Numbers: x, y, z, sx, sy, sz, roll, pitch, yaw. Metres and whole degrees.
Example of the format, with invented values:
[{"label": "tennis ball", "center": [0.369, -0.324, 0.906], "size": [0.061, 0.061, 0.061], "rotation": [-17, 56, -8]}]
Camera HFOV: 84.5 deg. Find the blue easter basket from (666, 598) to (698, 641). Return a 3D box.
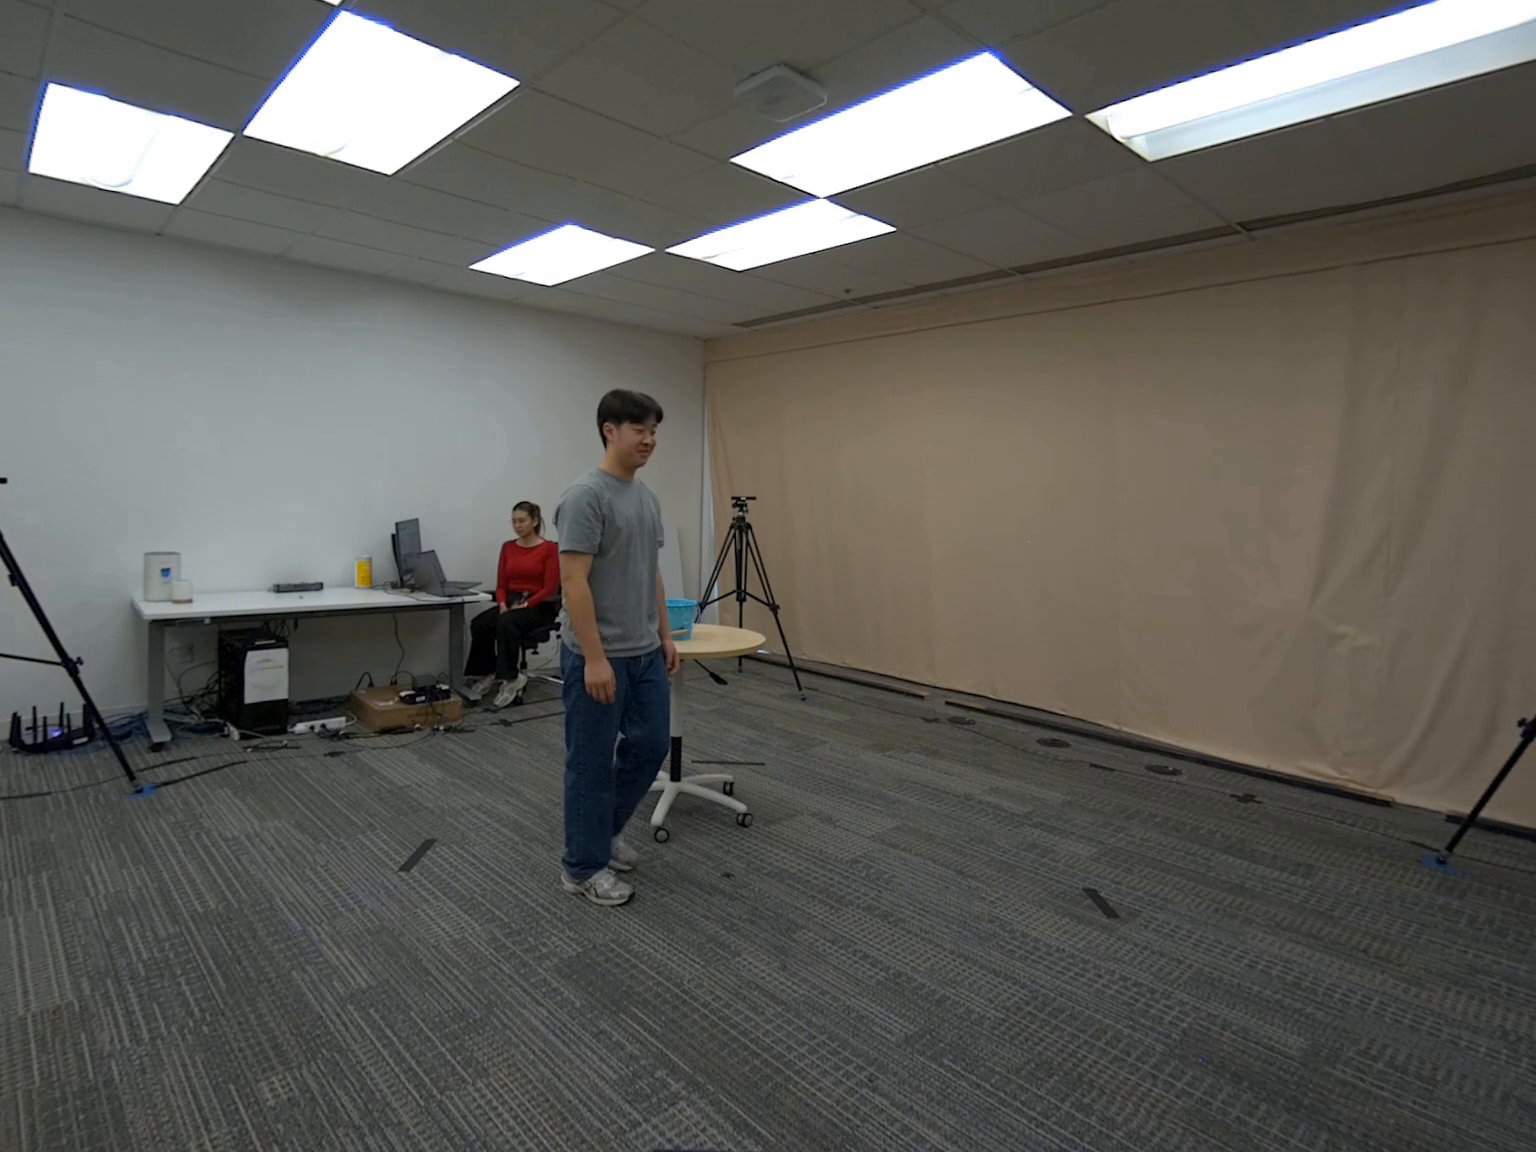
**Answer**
[{"label": "blue easter basket", "center": [-0.436, 0.194, 3.667], "size": [0.243, 0.155, 0.244], "rotation": [1, 4, -1]}]
